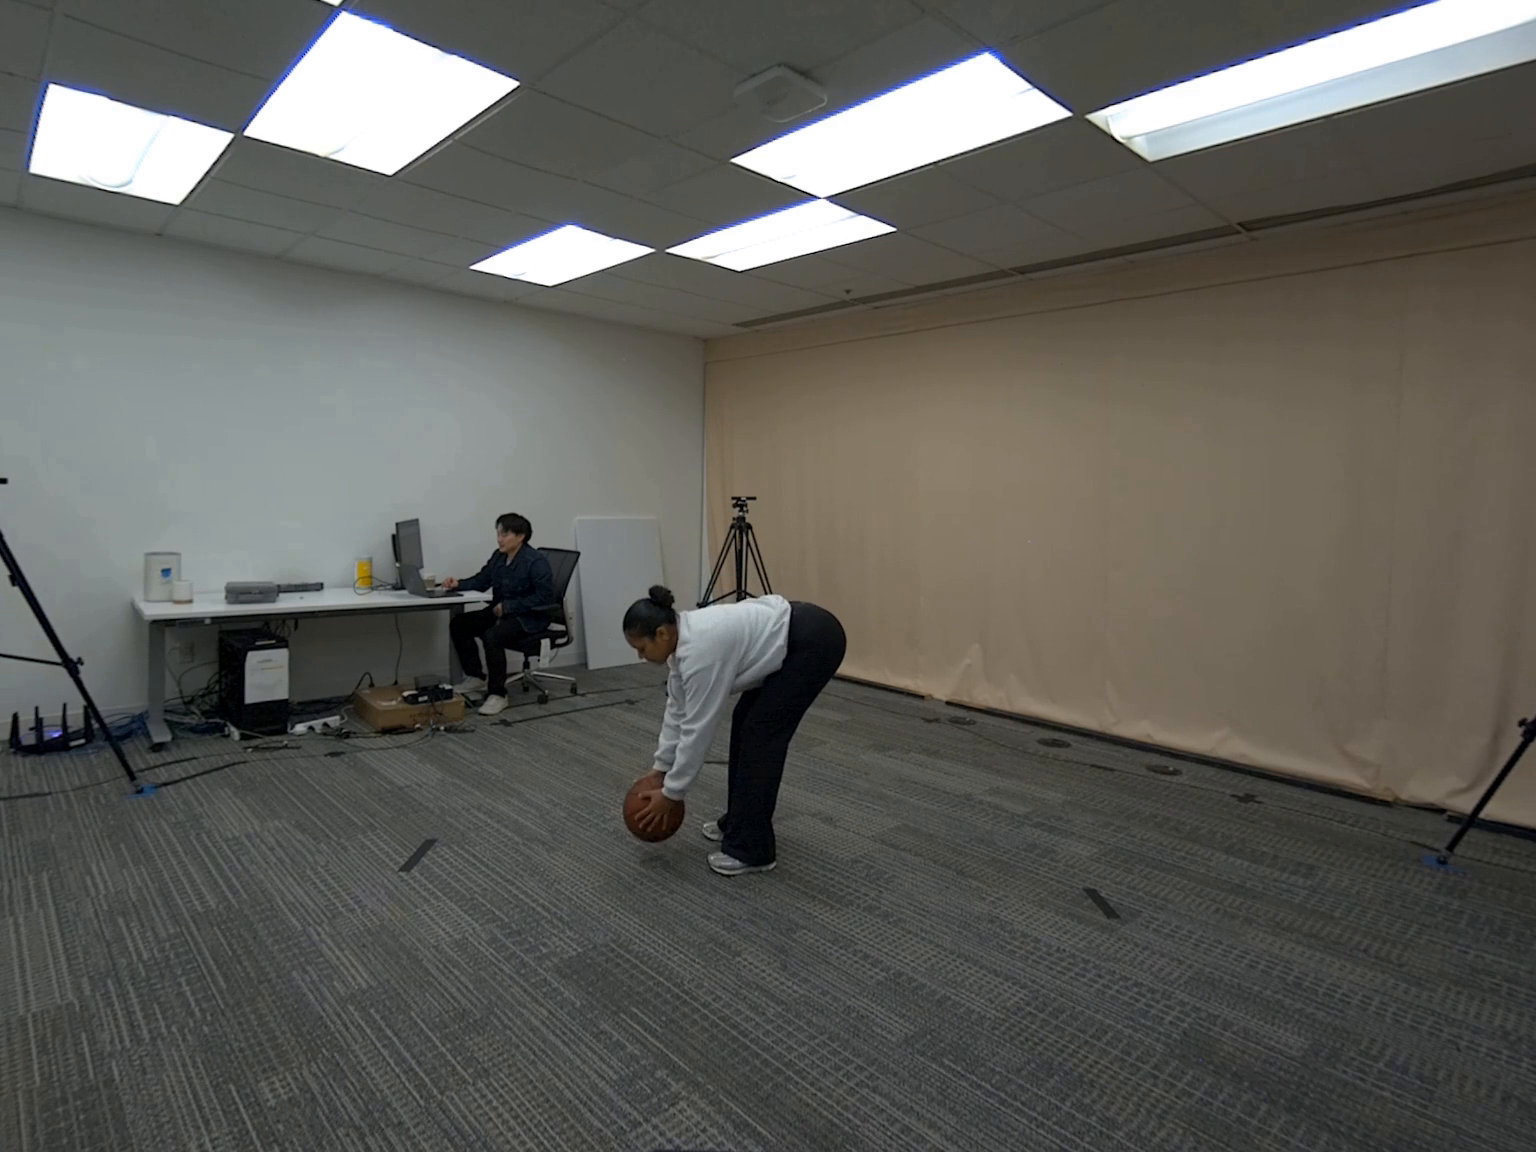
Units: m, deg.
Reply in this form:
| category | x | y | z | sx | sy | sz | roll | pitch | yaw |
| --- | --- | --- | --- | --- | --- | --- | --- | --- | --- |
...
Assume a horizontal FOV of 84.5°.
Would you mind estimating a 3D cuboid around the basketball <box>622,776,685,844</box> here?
| category | x | y | z | sx | sy | sz | roll | pitch | yaw |
| --- | --- | --- | --- | --- | --- | --- | --- | --- | --- |
| basketball | -0.441 | 0.879 | 3.226 | 0.236 | 0.235 | 0.237 | 1 | 4 | -1 |
